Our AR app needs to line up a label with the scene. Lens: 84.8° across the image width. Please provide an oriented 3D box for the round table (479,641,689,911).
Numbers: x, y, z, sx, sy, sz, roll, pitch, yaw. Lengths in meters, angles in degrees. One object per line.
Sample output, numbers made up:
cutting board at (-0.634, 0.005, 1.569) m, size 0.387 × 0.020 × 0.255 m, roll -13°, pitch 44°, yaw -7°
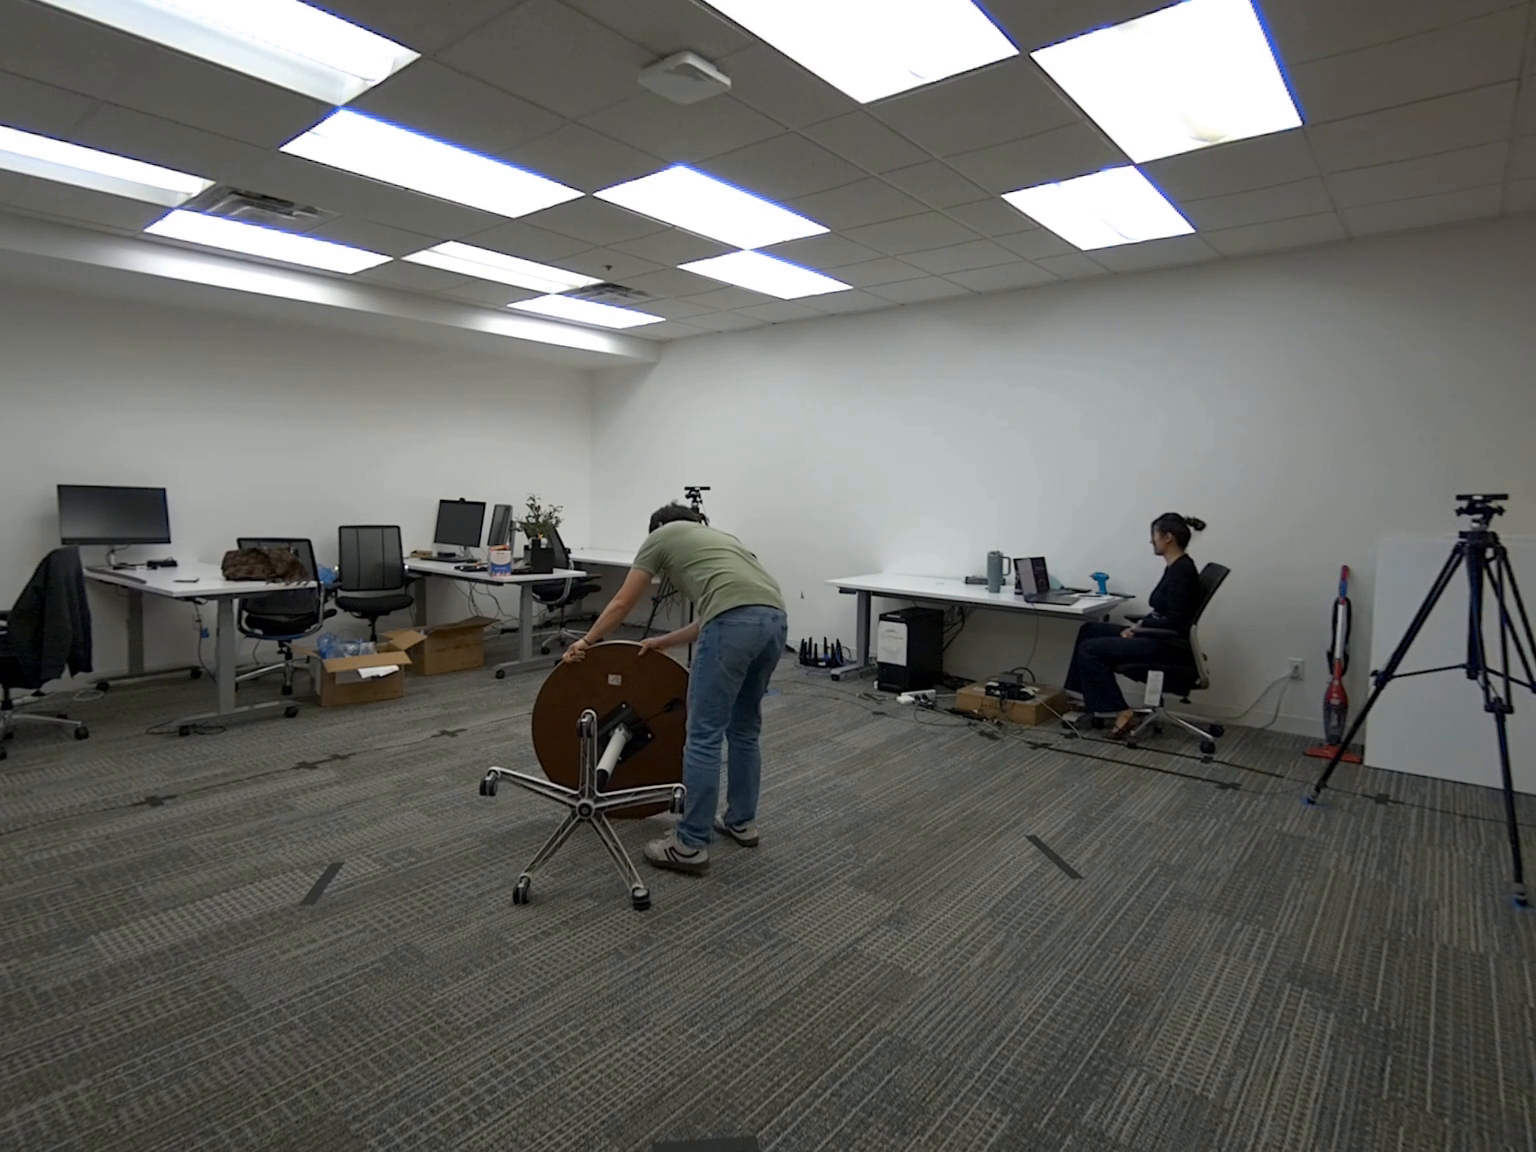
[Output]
round table at (-0.612, 0.722, 3.135) m, size 0.767 × 0.757 × 0.798 m, roll 1°, pitch 10°, yaw 3°
